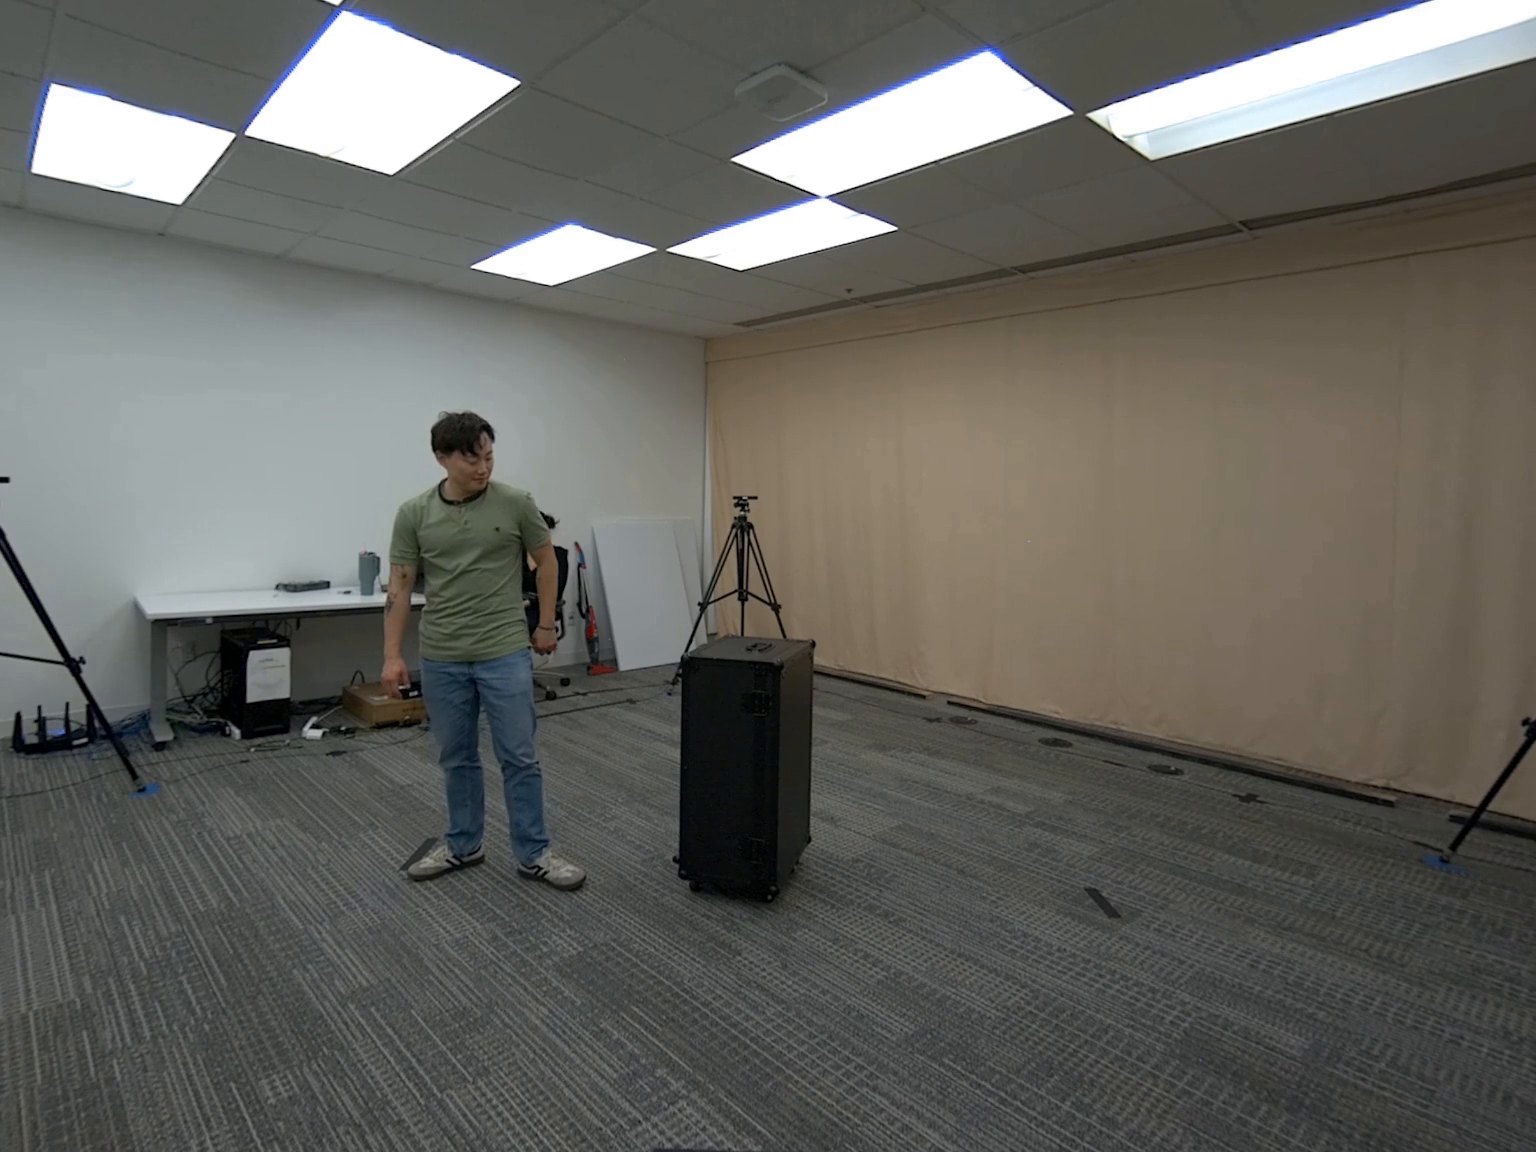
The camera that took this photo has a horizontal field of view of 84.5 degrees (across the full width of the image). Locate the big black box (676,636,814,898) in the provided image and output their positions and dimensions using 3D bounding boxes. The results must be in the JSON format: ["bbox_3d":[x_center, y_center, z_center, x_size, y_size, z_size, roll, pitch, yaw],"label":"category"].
[{"bbox_3d":[-0.078,0.682,3.062,0.401,0.859,0.516,2,4,16],"label":"big black box"}]
